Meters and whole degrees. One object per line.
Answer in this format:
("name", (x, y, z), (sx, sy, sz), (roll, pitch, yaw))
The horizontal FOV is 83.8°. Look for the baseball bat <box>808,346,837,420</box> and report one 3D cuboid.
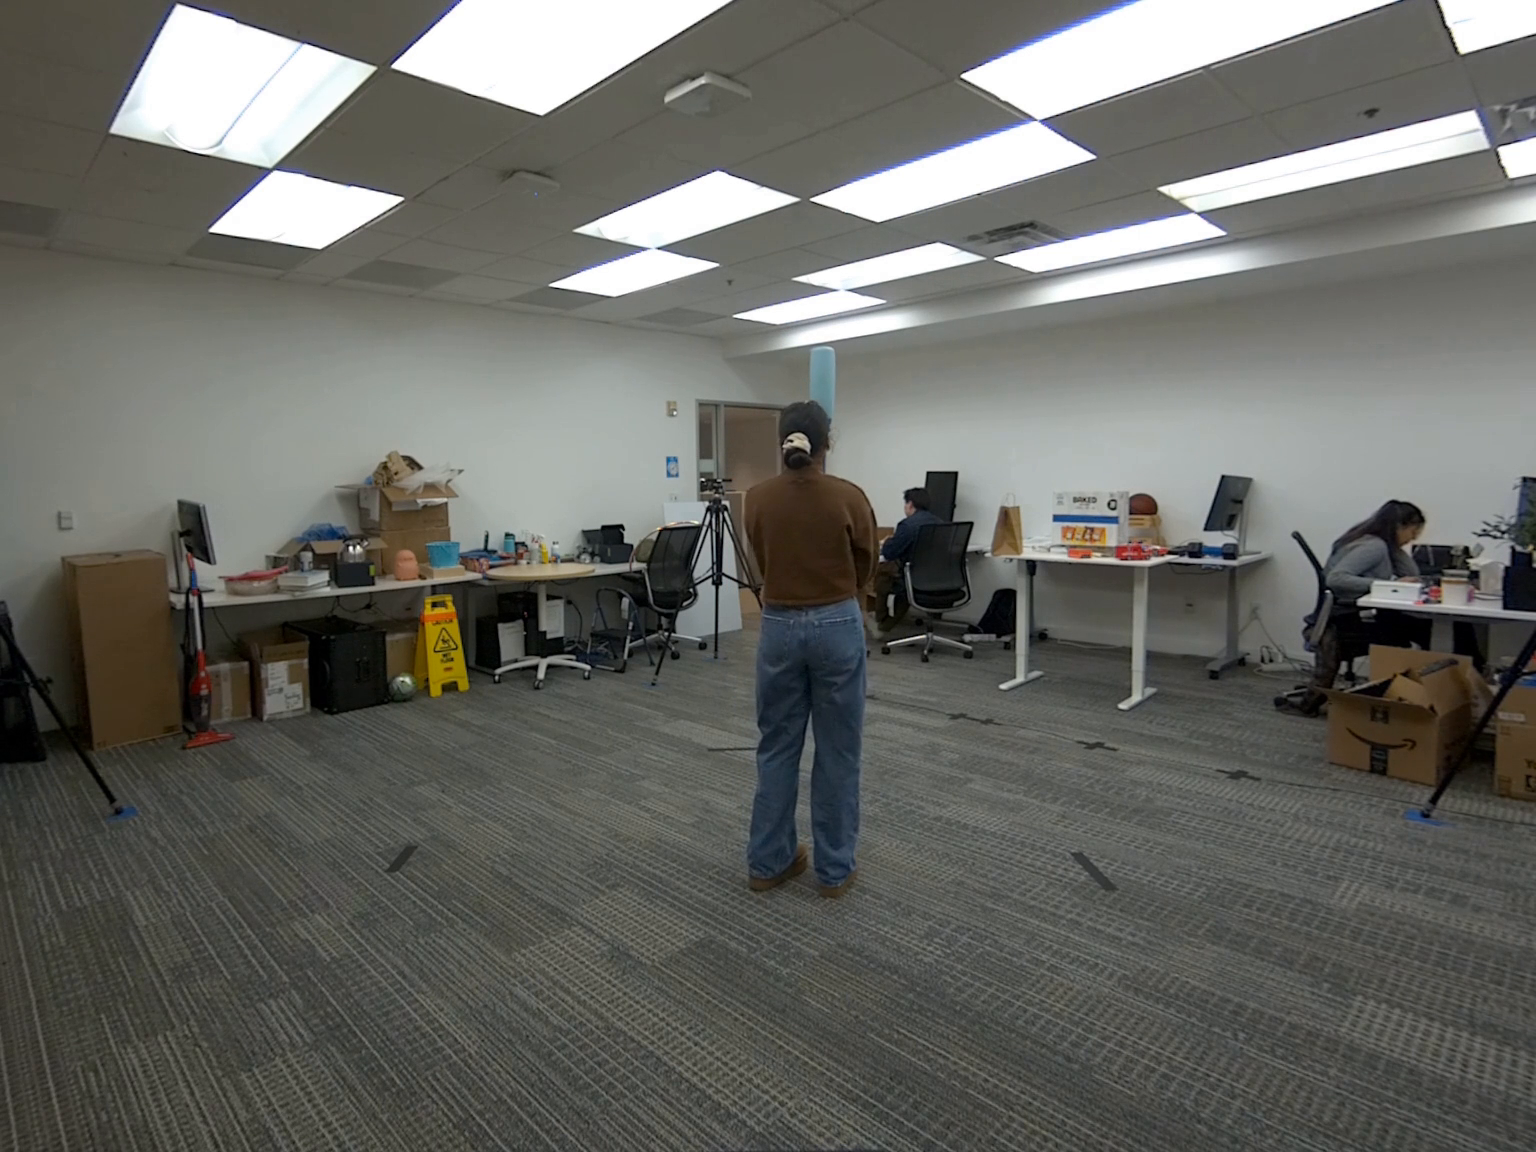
("baseball bat", (0.200, -0.539, 3.021), (0.089, 0.541, 0.089), (-1, 3, -2))
